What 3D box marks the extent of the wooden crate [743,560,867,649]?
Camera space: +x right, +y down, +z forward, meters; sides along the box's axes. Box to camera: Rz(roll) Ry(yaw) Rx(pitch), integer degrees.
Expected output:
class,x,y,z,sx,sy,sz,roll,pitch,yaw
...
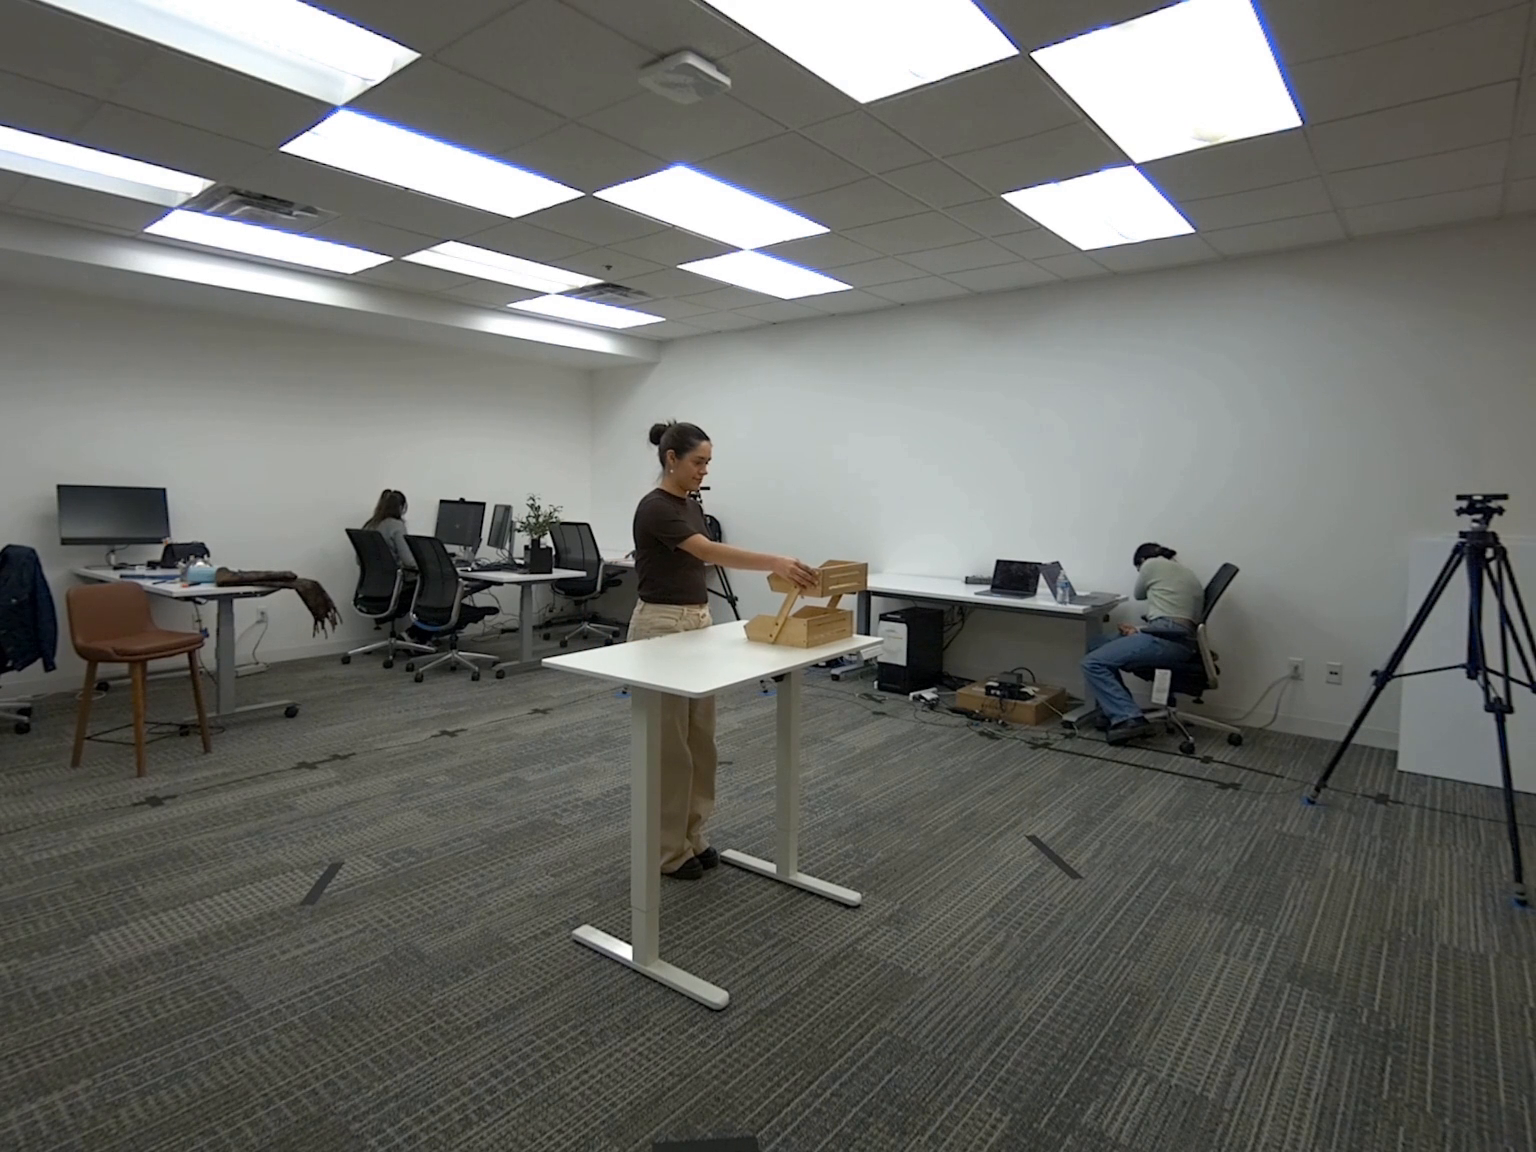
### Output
class,x,y,z,sx,sy,sz,roll,pitch,yaw
wooden crate,0.121,0.079,2.865,0.312,0.272,0.315,6,7,36
